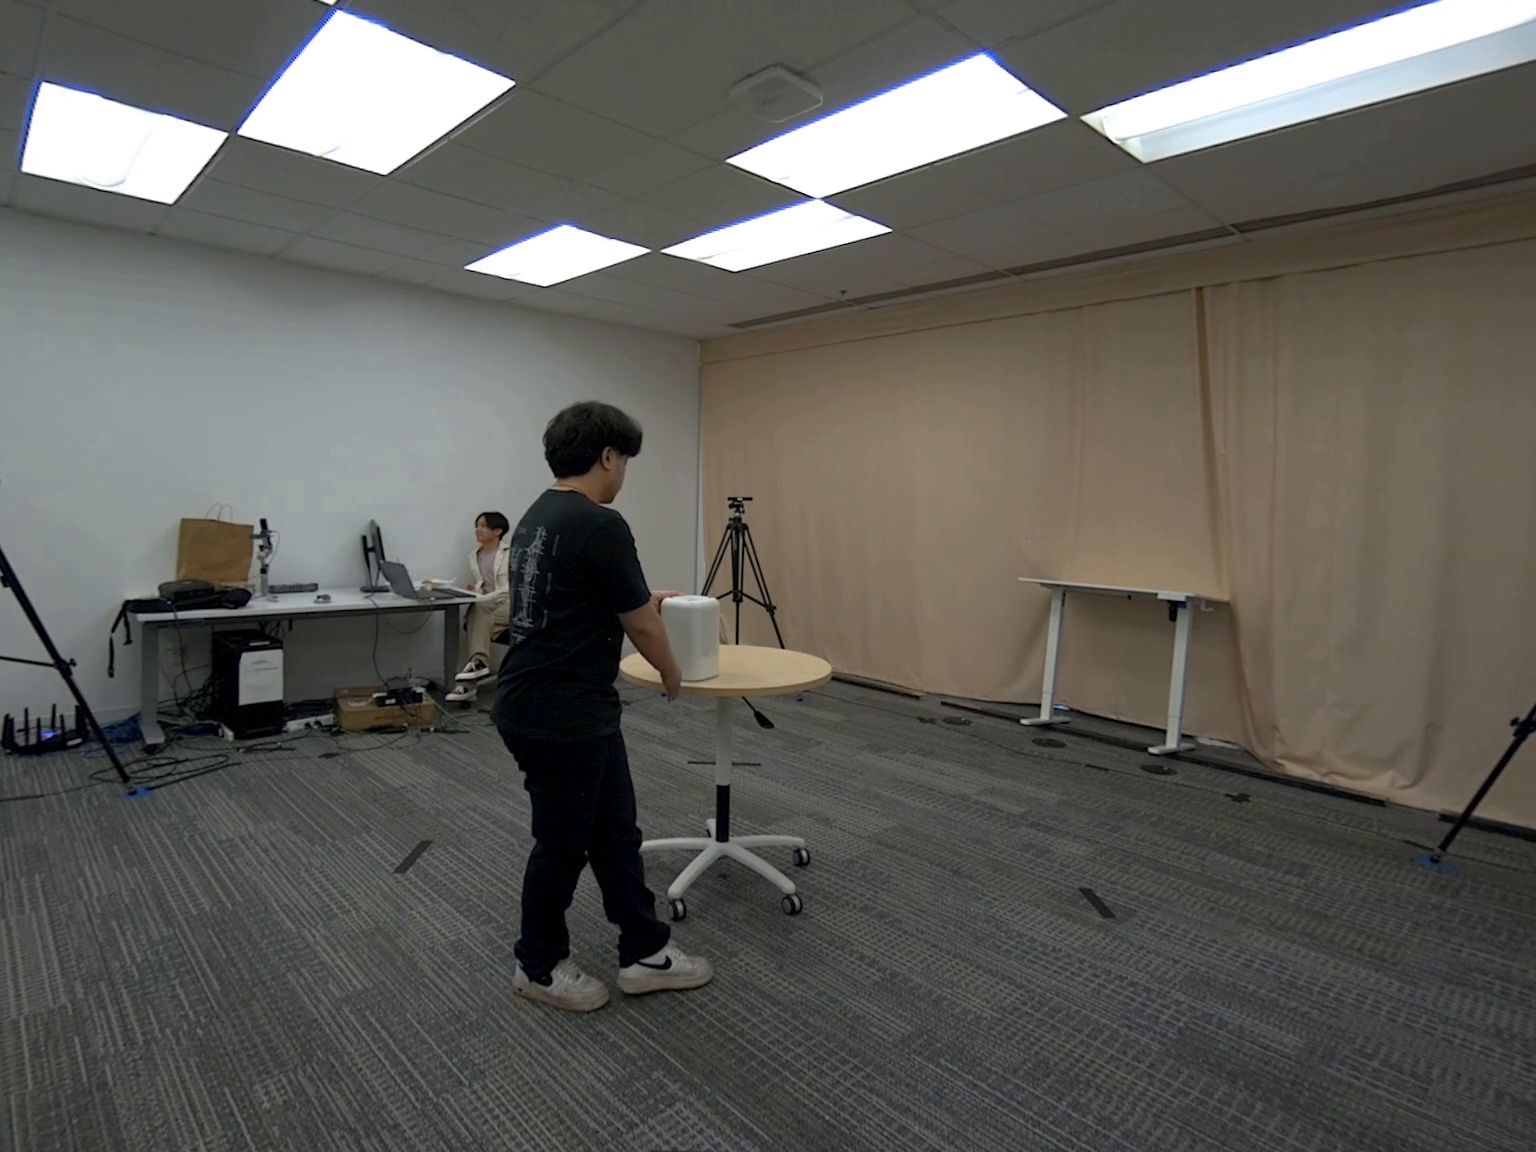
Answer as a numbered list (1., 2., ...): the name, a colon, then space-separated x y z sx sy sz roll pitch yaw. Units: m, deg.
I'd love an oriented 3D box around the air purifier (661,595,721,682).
1. air purifier: -0.269 0.206 2.832 0.175 0.265 0.168 3 4 35
